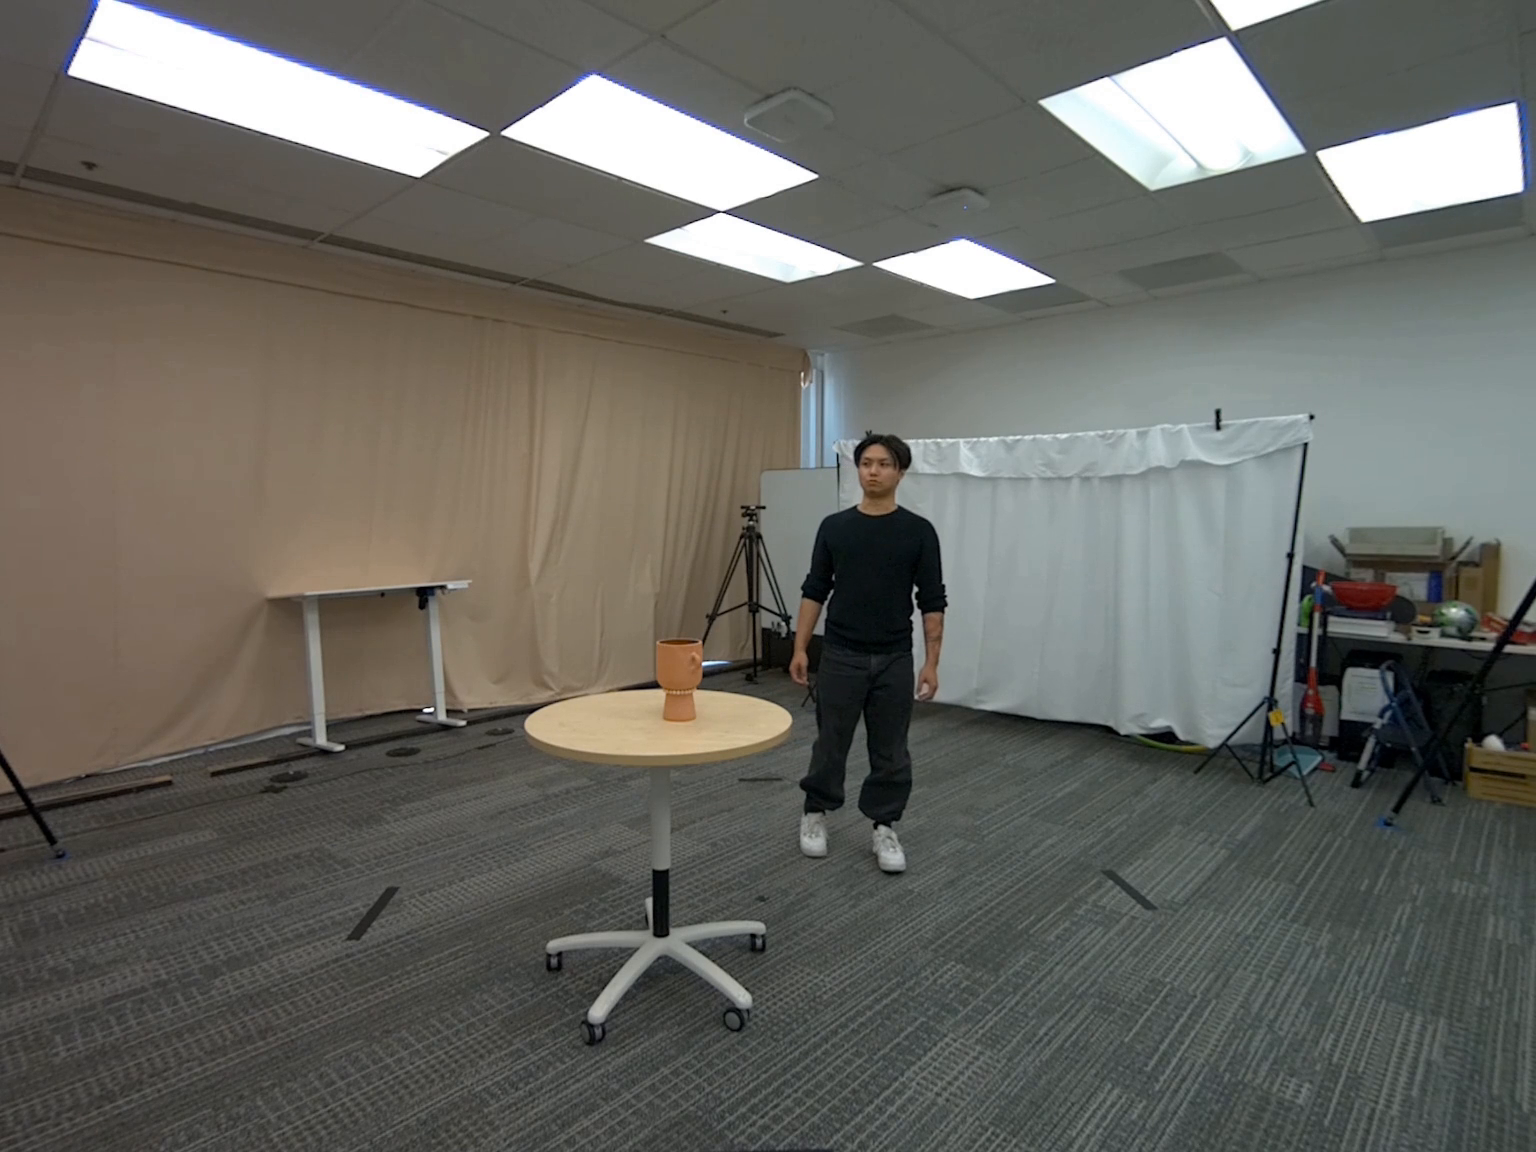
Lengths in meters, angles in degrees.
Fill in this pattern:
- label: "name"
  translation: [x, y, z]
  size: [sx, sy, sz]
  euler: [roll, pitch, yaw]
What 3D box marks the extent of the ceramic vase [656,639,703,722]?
- label: "ceramic vase"
  translation: [-0.253, 0.301, 2.422]
  size: [0.134, 0.219, 0.159]
  euler: [1, 3, -2]
